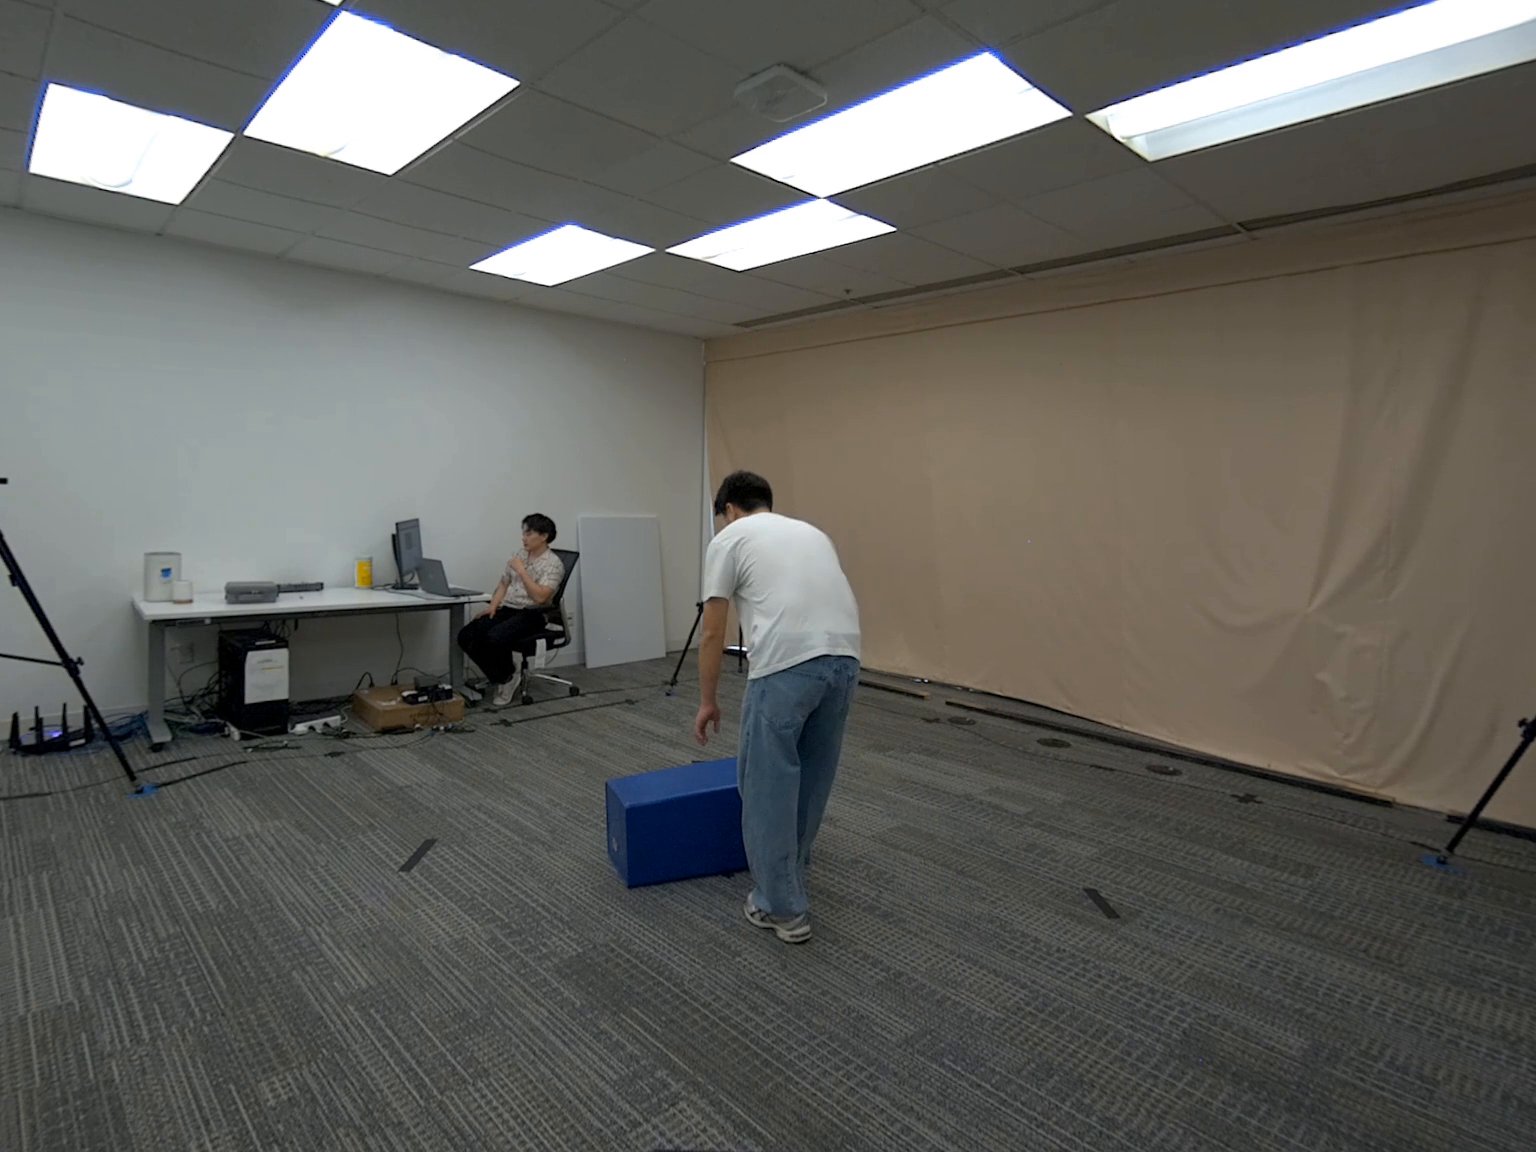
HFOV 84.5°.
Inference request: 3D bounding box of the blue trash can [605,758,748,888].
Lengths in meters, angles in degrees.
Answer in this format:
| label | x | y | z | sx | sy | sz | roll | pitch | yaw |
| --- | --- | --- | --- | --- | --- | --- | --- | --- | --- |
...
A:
| label | x | y | z | sx | sy | sz | roll | pitch | yaw |
| --- | --- | --- | --- | --- | --- | --- | --- | --- | --- |
| blue trash can | -0.240 | 0.929 | 3.229 | 0.702 | 0.377 | 0.381 | -3 | 6 | -23 |
